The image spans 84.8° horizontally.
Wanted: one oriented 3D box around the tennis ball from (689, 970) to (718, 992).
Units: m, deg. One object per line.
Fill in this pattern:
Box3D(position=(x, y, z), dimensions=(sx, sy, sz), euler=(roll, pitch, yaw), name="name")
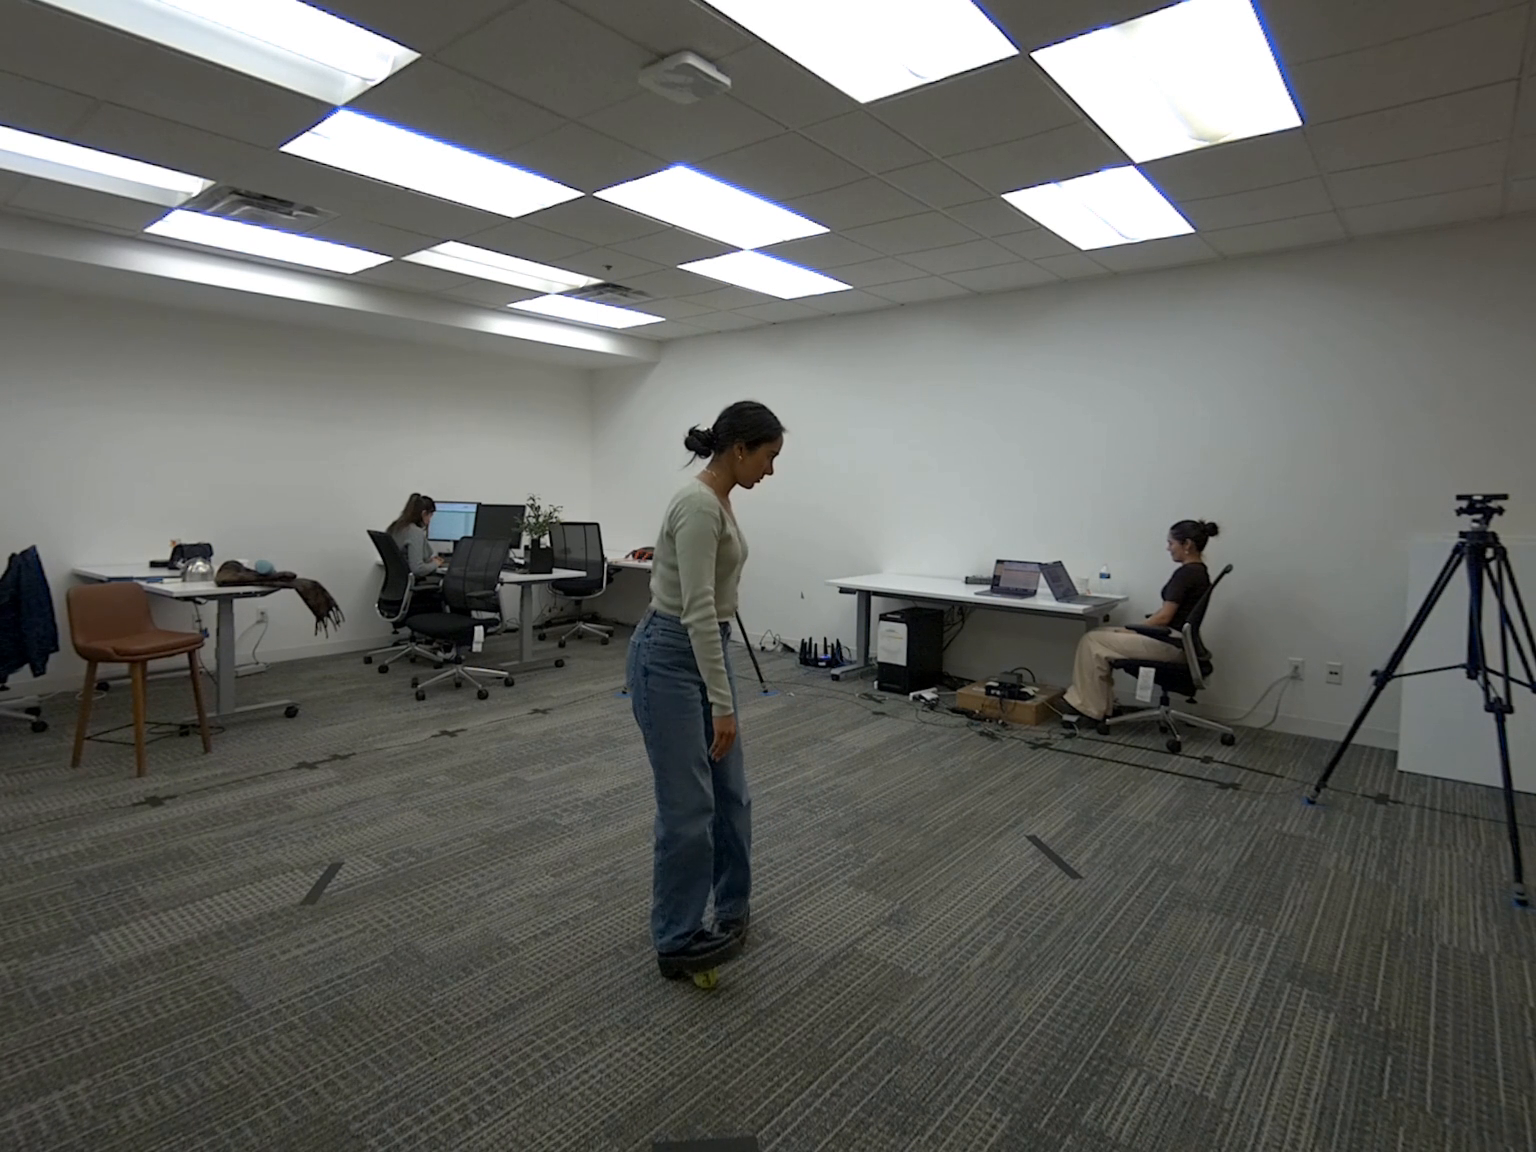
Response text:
Box3D(position=(-0.187, 1.117, 2.368), dimensions=(0.066, 0.066, 0.067), euler=(1, 4, -2), name="tennis ball")
